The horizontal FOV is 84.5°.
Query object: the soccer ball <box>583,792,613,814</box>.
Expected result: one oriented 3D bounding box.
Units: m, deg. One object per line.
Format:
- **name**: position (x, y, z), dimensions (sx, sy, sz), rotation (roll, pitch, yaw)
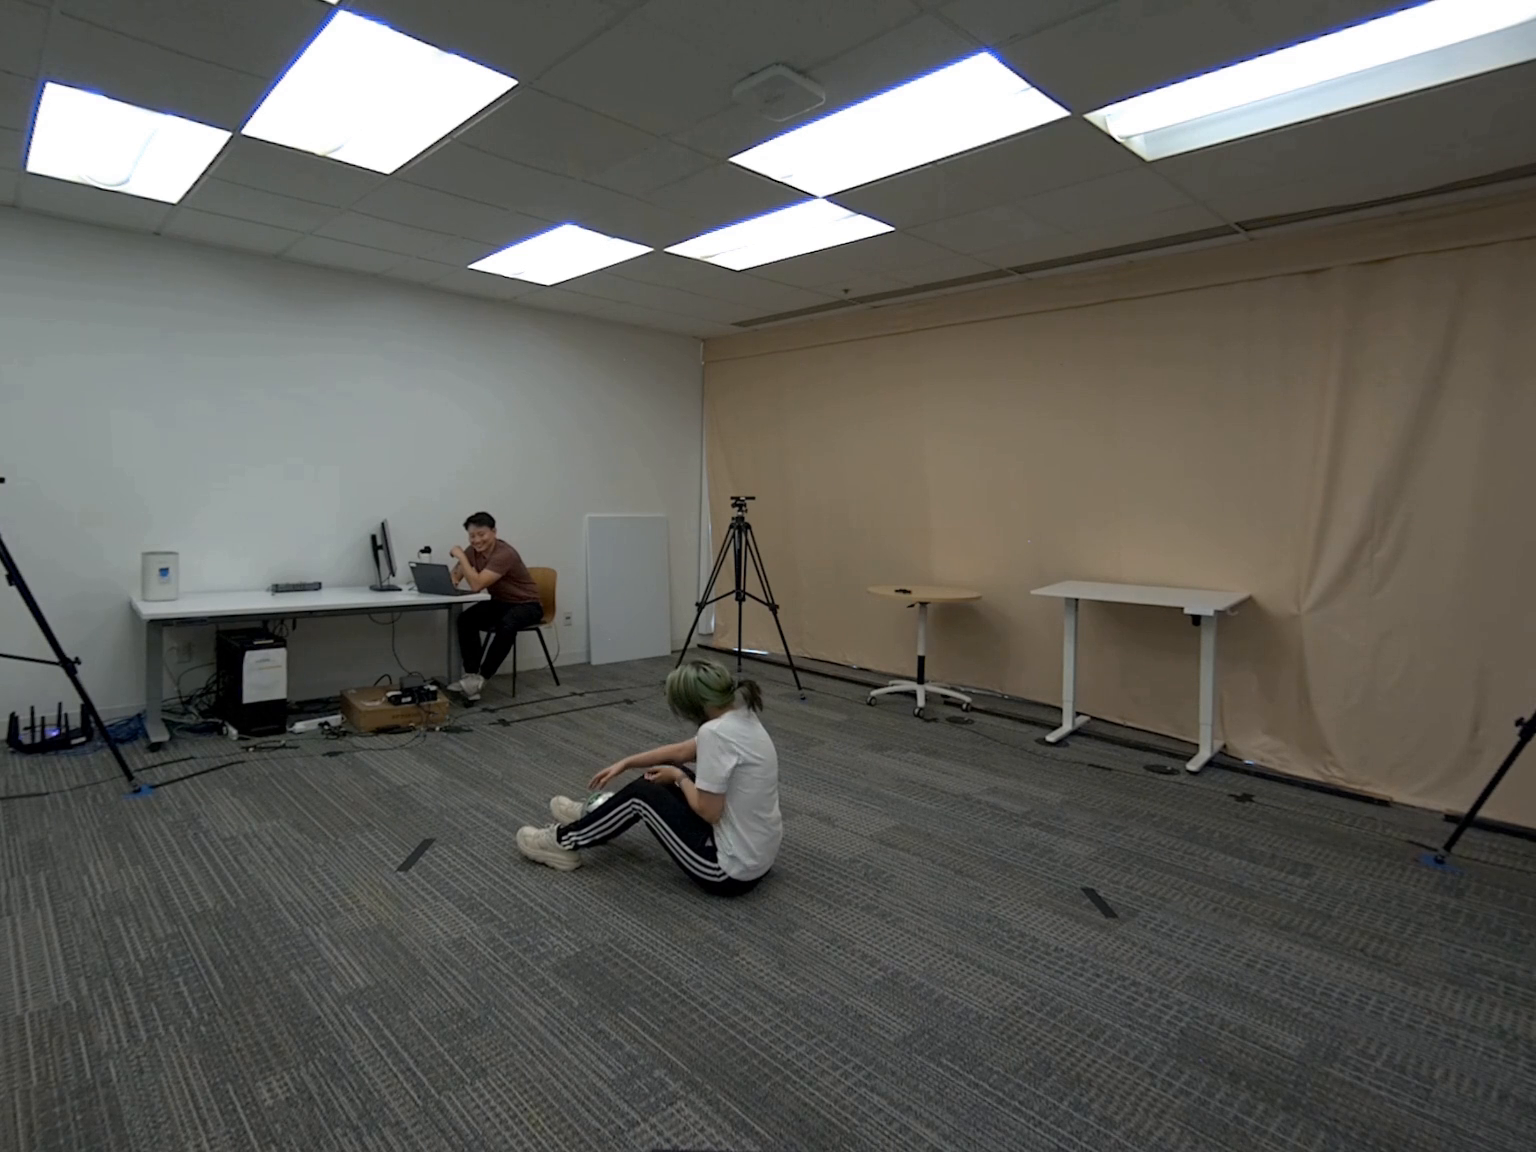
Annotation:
- **soccer ball**: position (-0.618, 0.914, 3.222), dimensions (0.187, 0.187, 0.188), rotation (1, 4, -1)
